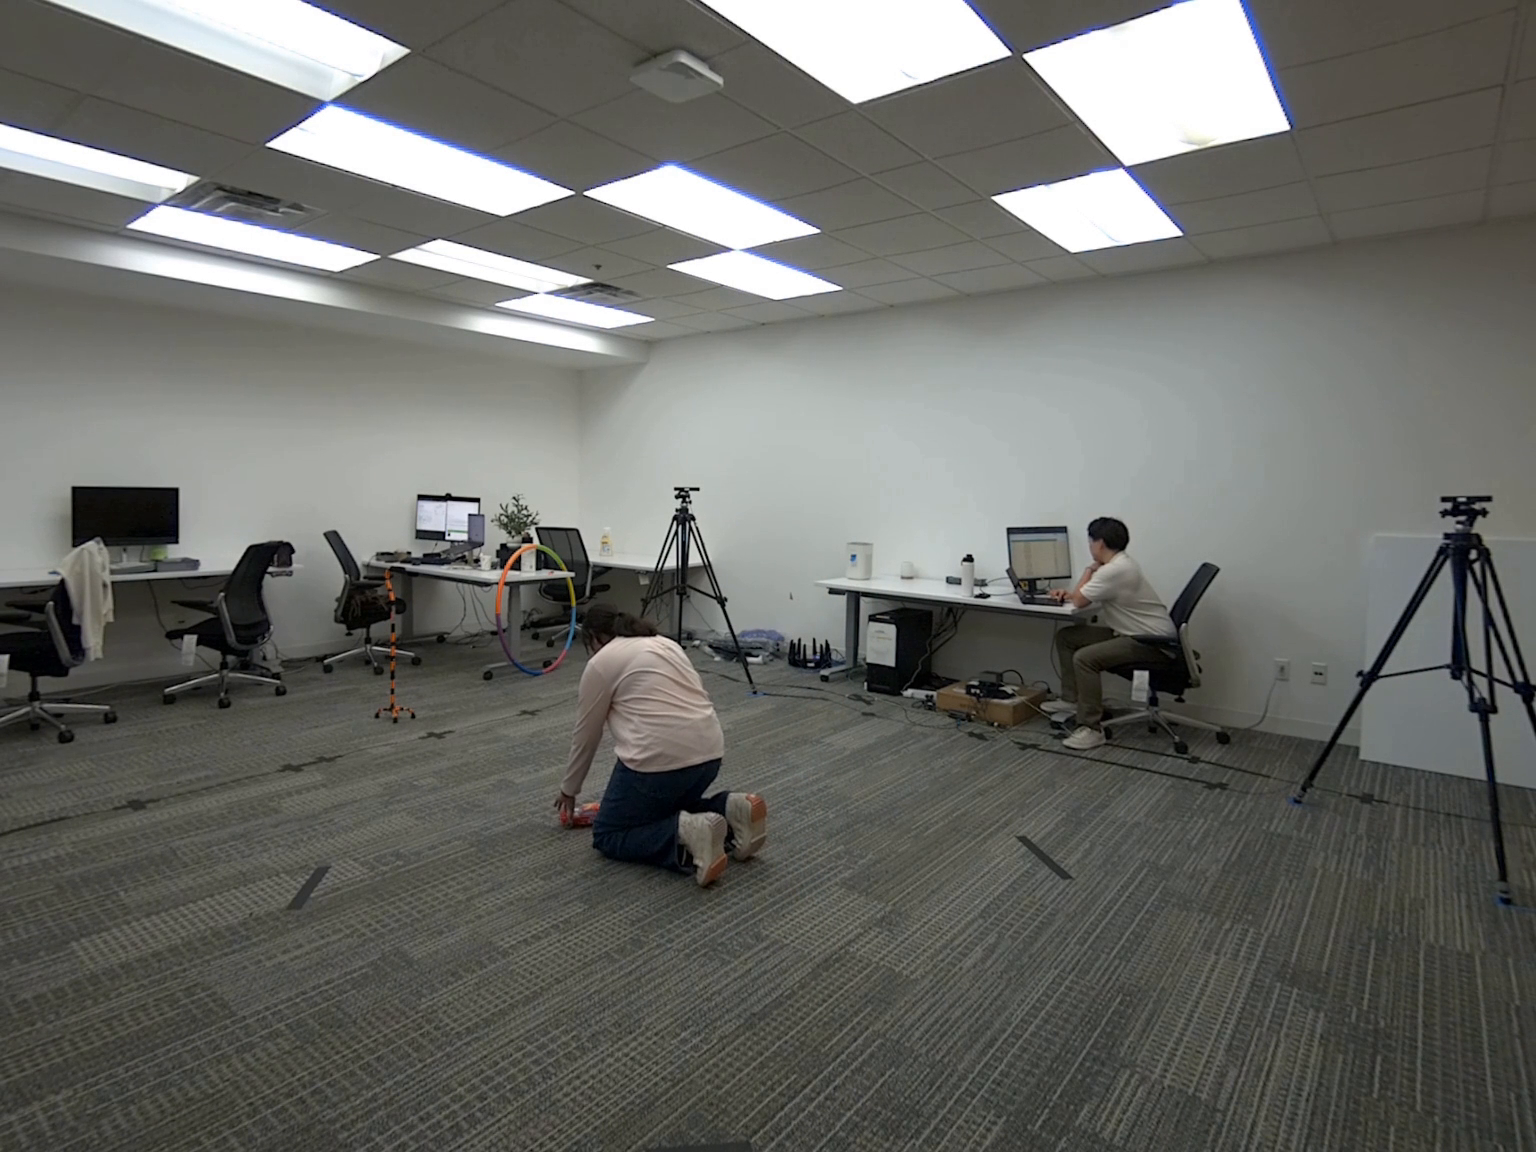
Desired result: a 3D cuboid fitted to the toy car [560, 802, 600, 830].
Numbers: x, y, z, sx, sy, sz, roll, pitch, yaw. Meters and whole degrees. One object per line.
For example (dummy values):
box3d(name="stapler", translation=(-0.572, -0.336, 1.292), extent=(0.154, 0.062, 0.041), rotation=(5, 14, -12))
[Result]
box3d(name="toy car", translation=(-0.743, 0.989, 3.520), extent=(0.252, 0.083, 0.132), rotation=(-11, 6, -10))
